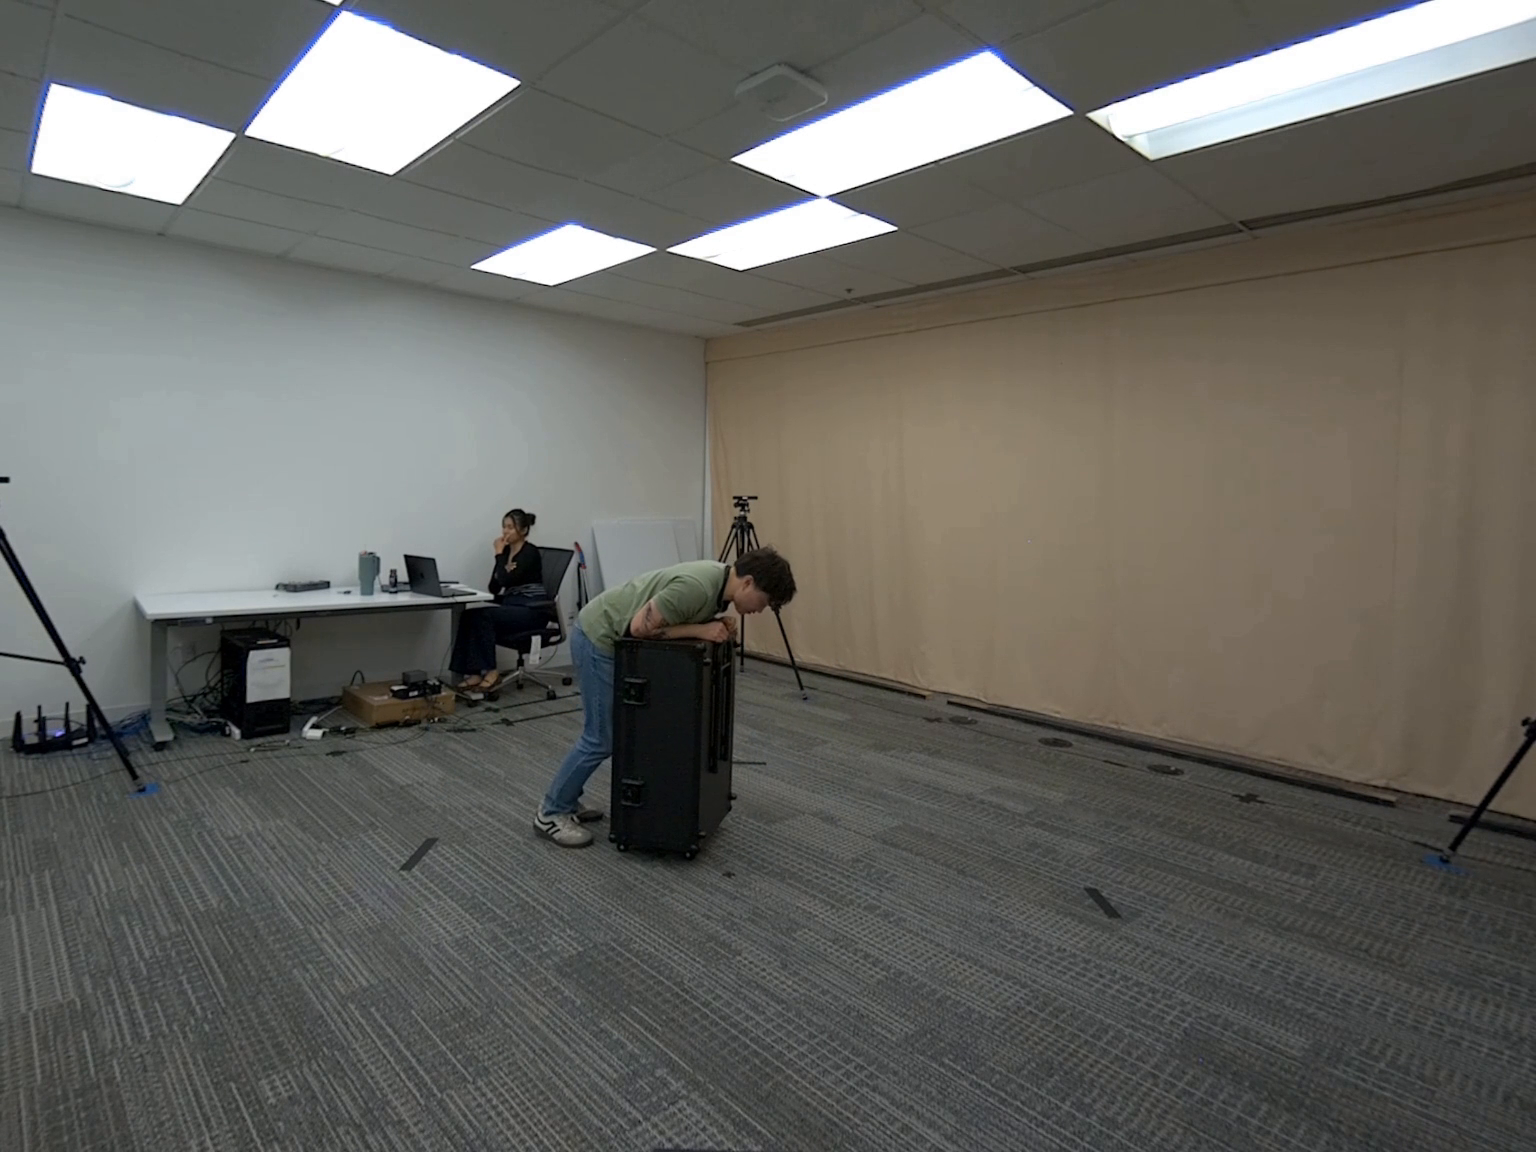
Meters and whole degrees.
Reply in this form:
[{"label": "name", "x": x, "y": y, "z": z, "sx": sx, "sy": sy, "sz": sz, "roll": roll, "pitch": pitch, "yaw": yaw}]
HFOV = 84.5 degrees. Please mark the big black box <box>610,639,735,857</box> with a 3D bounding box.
[{"label": "big black box", "x": -0.357, "y": 0.656, "z": 3.369, "sx": 0.401, "sy": 0.859, "sz": 0.516, "roll": 3, "pitch": 4, "yaw": 14}]
